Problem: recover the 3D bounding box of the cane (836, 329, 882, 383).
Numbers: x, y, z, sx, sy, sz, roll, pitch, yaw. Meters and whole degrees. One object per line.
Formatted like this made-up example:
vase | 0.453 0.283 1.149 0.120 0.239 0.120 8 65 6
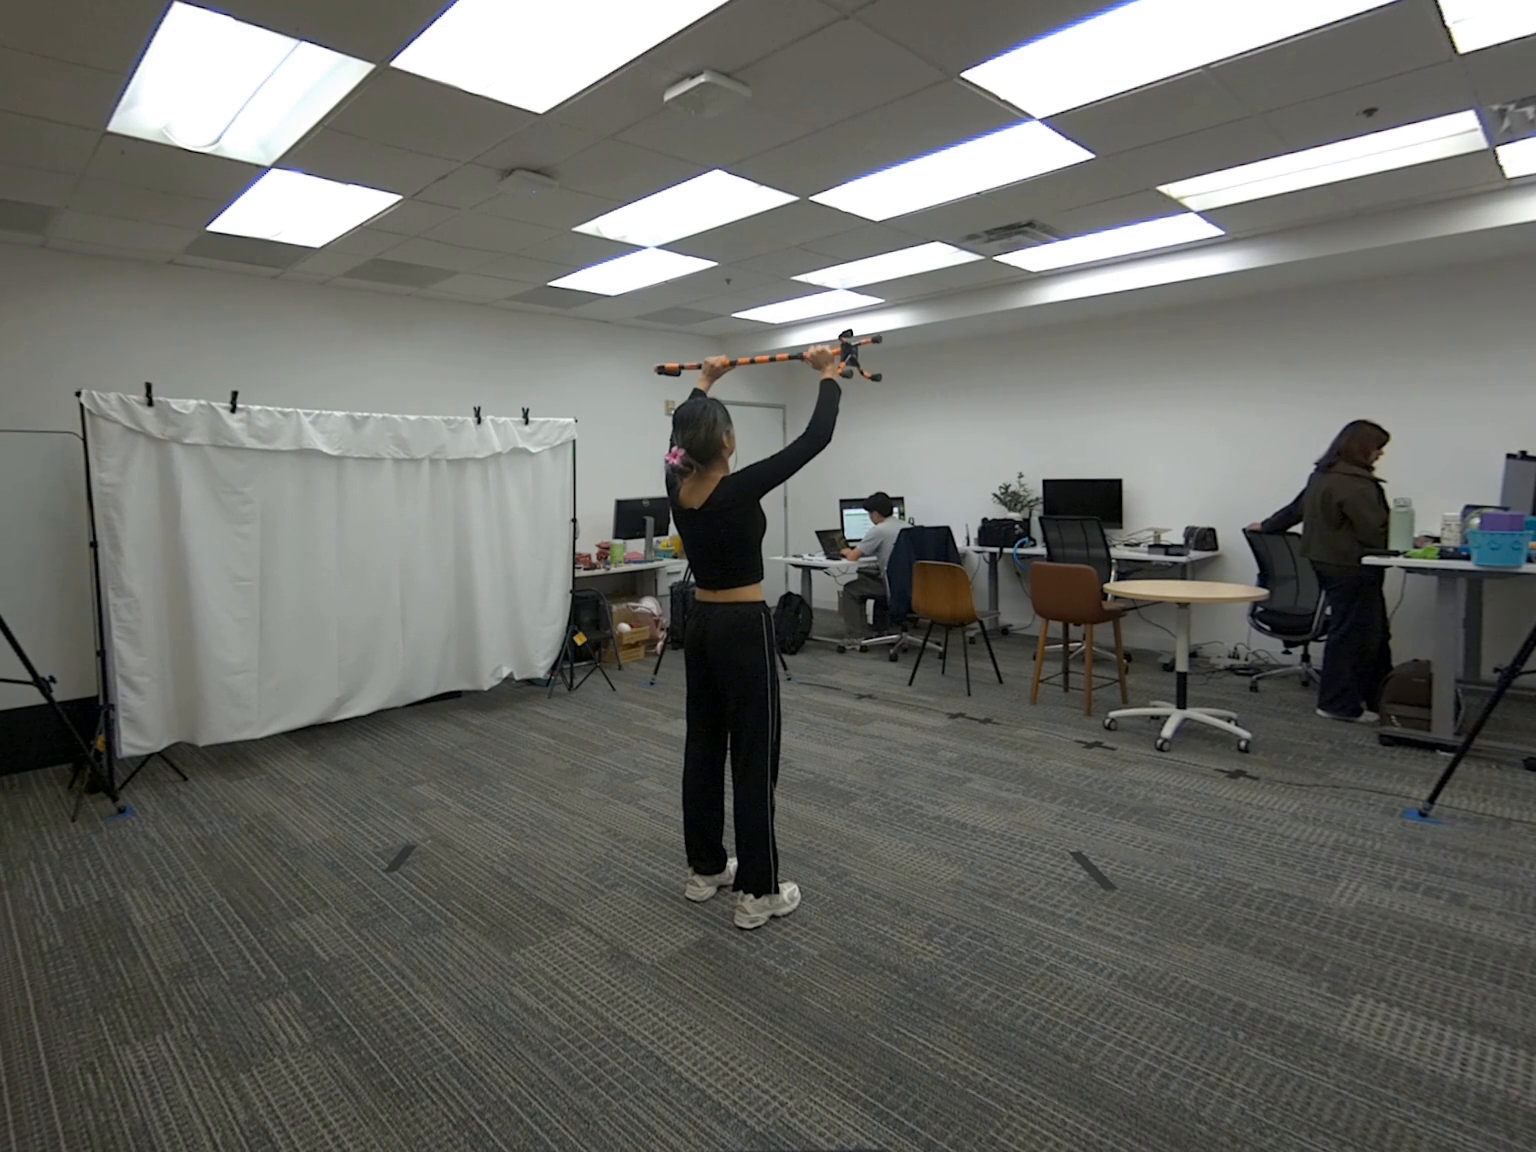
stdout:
cane | -0.059 -0.732 2.971 0.937 0.150 0.201 7 10 40
